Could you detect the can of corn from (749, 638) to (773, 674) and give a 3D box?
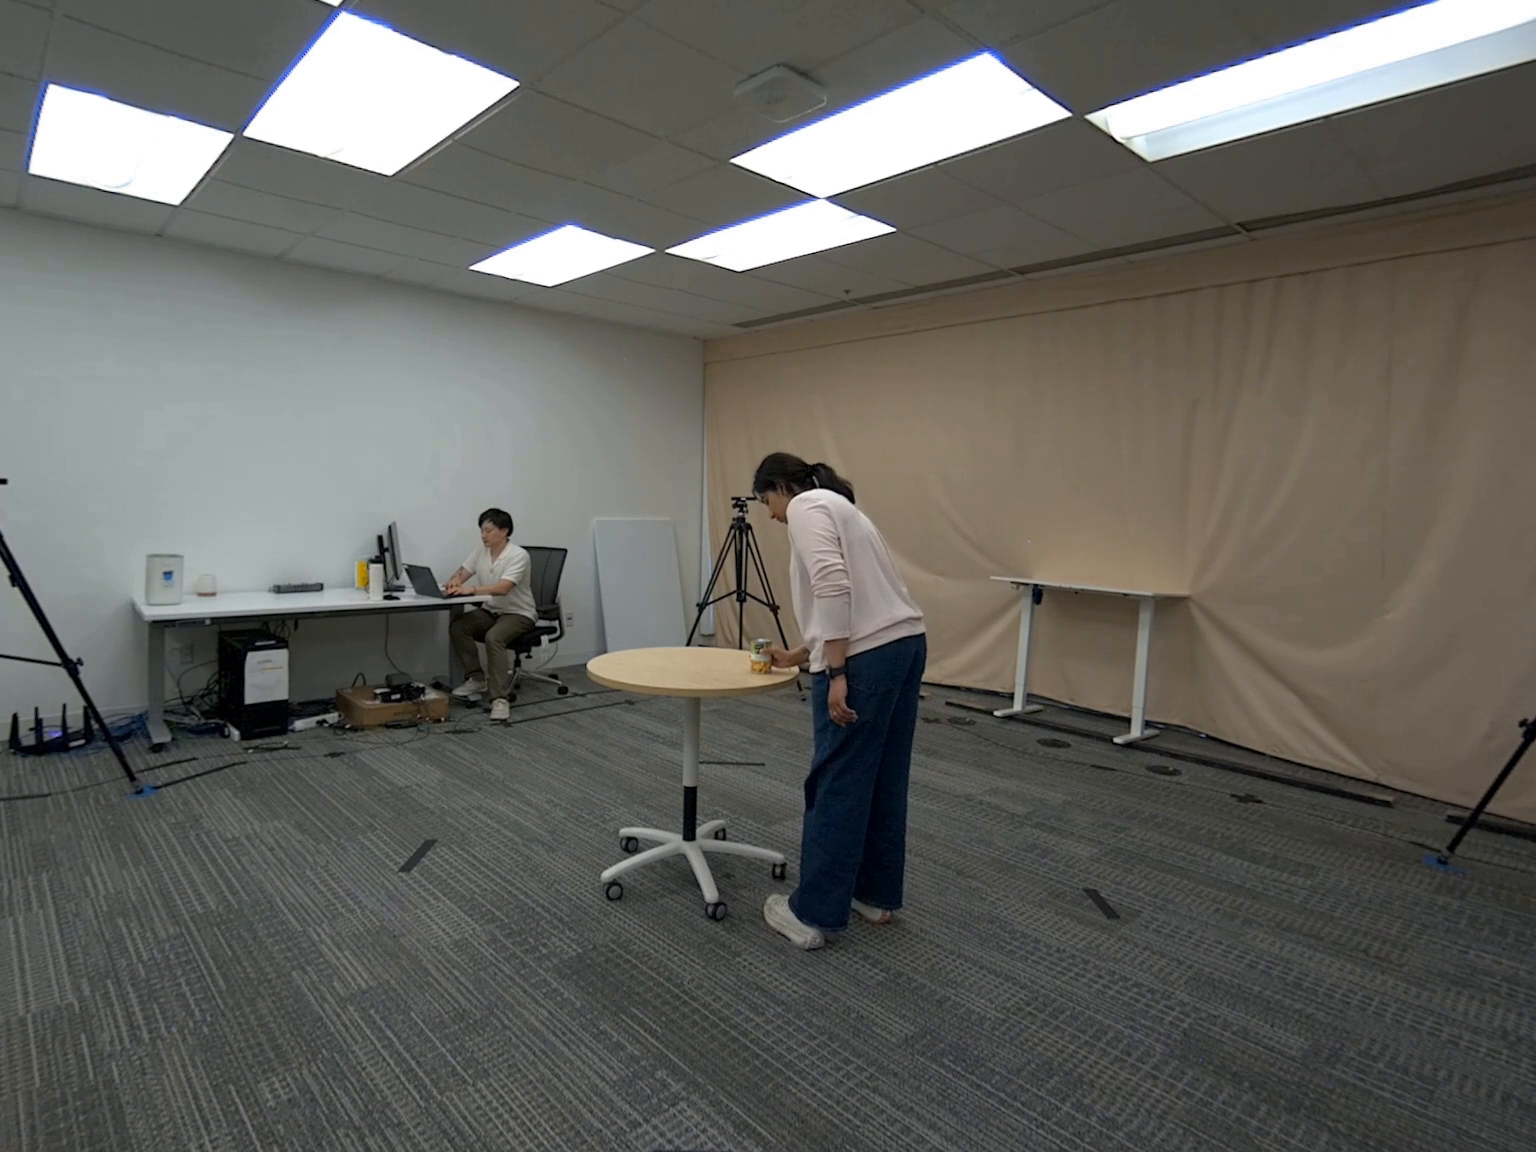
[{"bbox_3d":[-0.032,0.280,2.968,0.074,0.111,0.074,4,2,-2],"label":"can of corn"}]
